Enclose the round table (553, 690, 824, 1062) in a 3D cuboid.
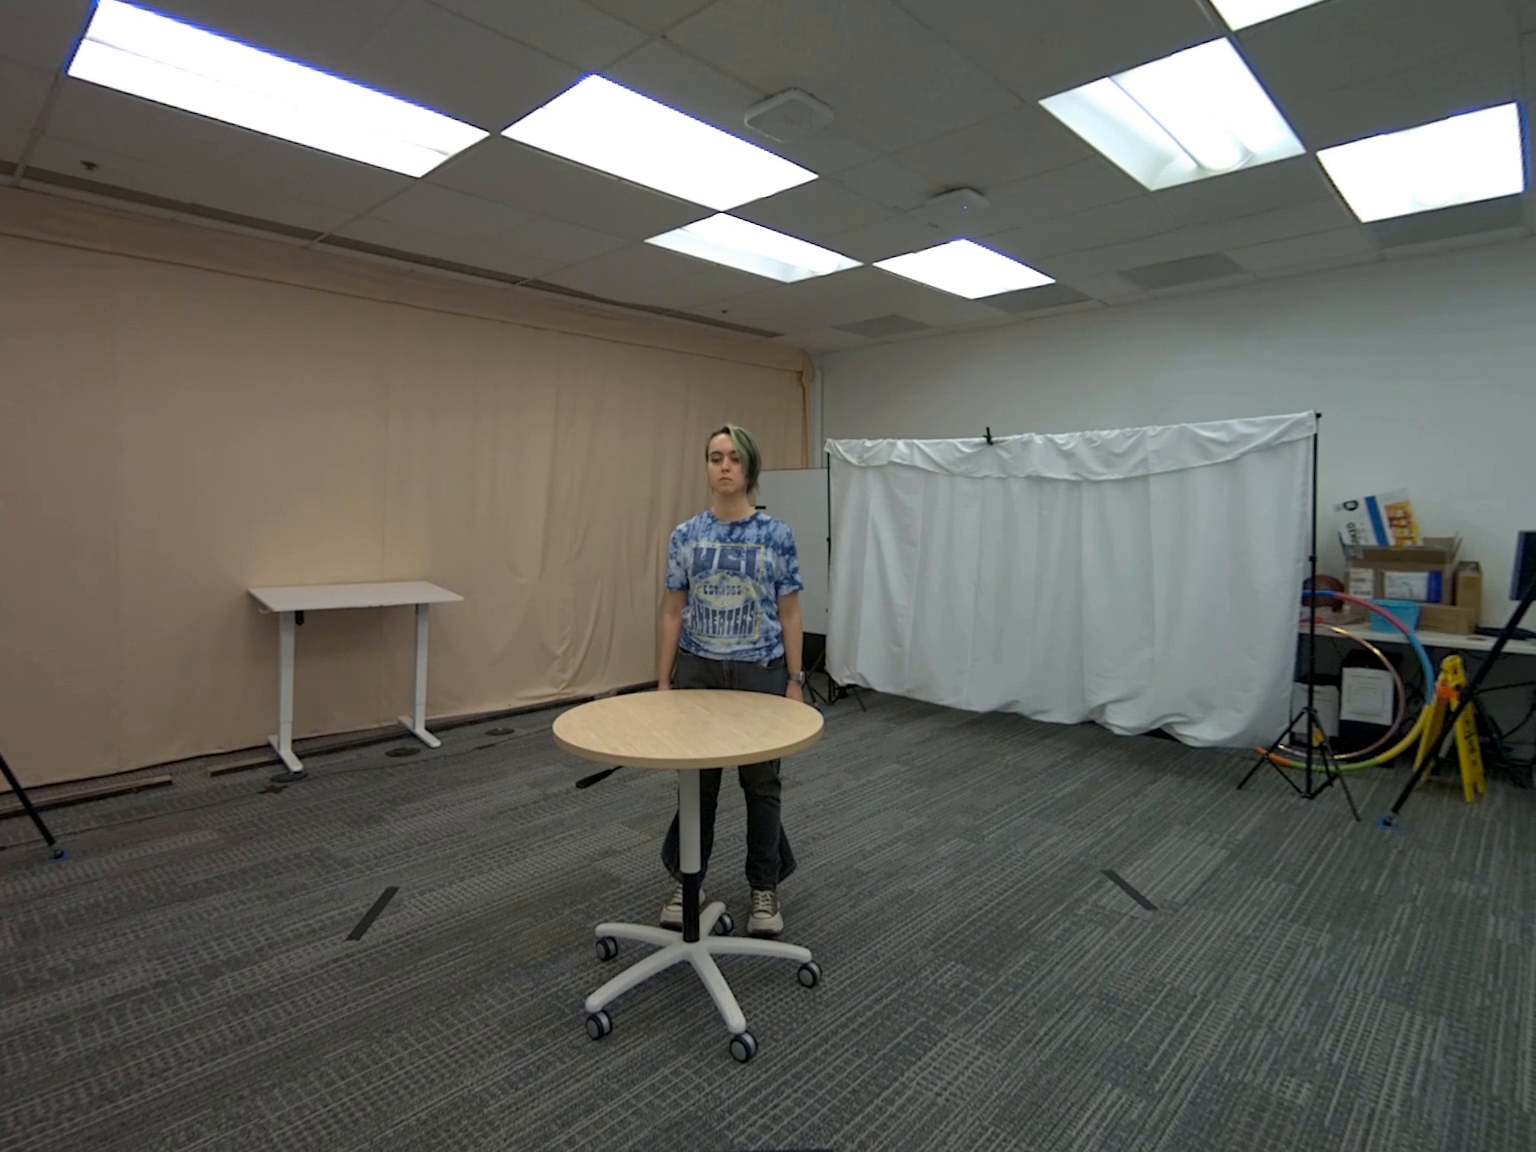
[{"bbox_3d":[-0.232,0.796,2.434,0.784,0.785,0.788,0,4,-2],"label":"round table"}]
